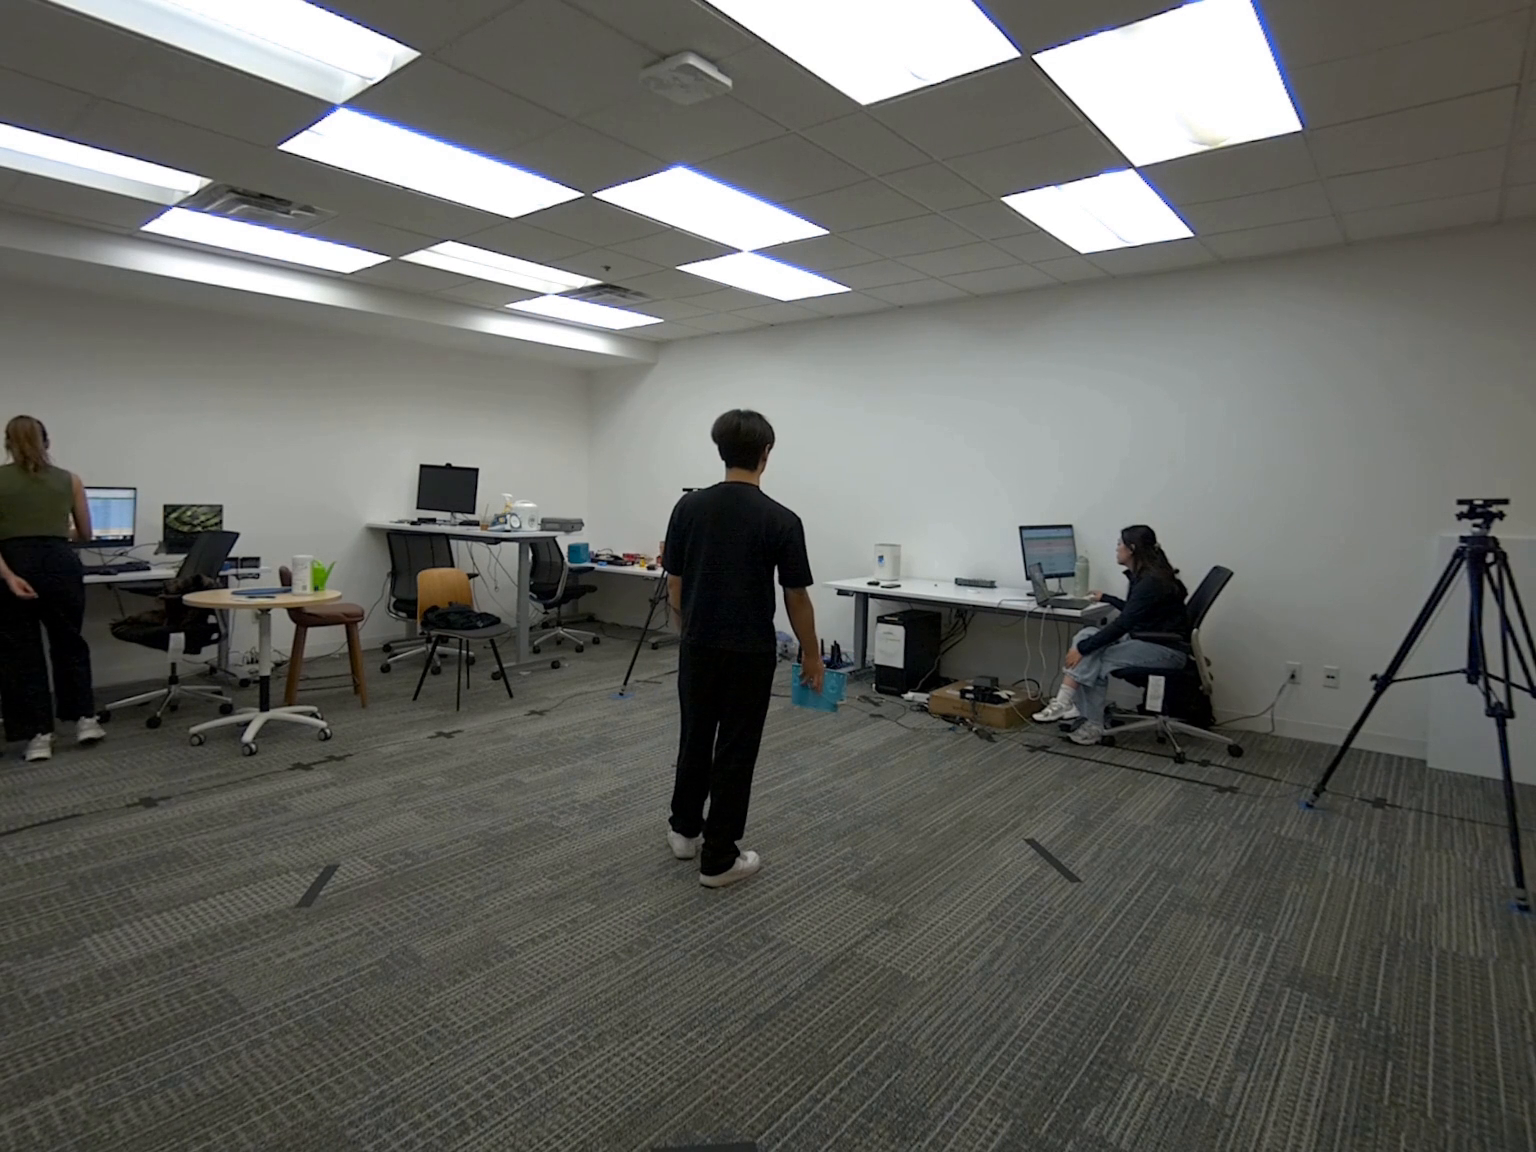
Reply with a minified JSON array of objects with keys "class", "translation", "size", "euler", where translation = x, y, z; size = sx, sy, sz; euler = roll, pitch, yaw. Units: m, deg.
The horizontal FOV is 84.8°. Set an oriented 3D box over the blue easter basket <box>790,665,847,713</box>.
[{"class":"blue easter basket","translation":[0.182,0.430,3.246],"size":[0.244,0.157,0.242],"euler":[9,-8,0]}]
